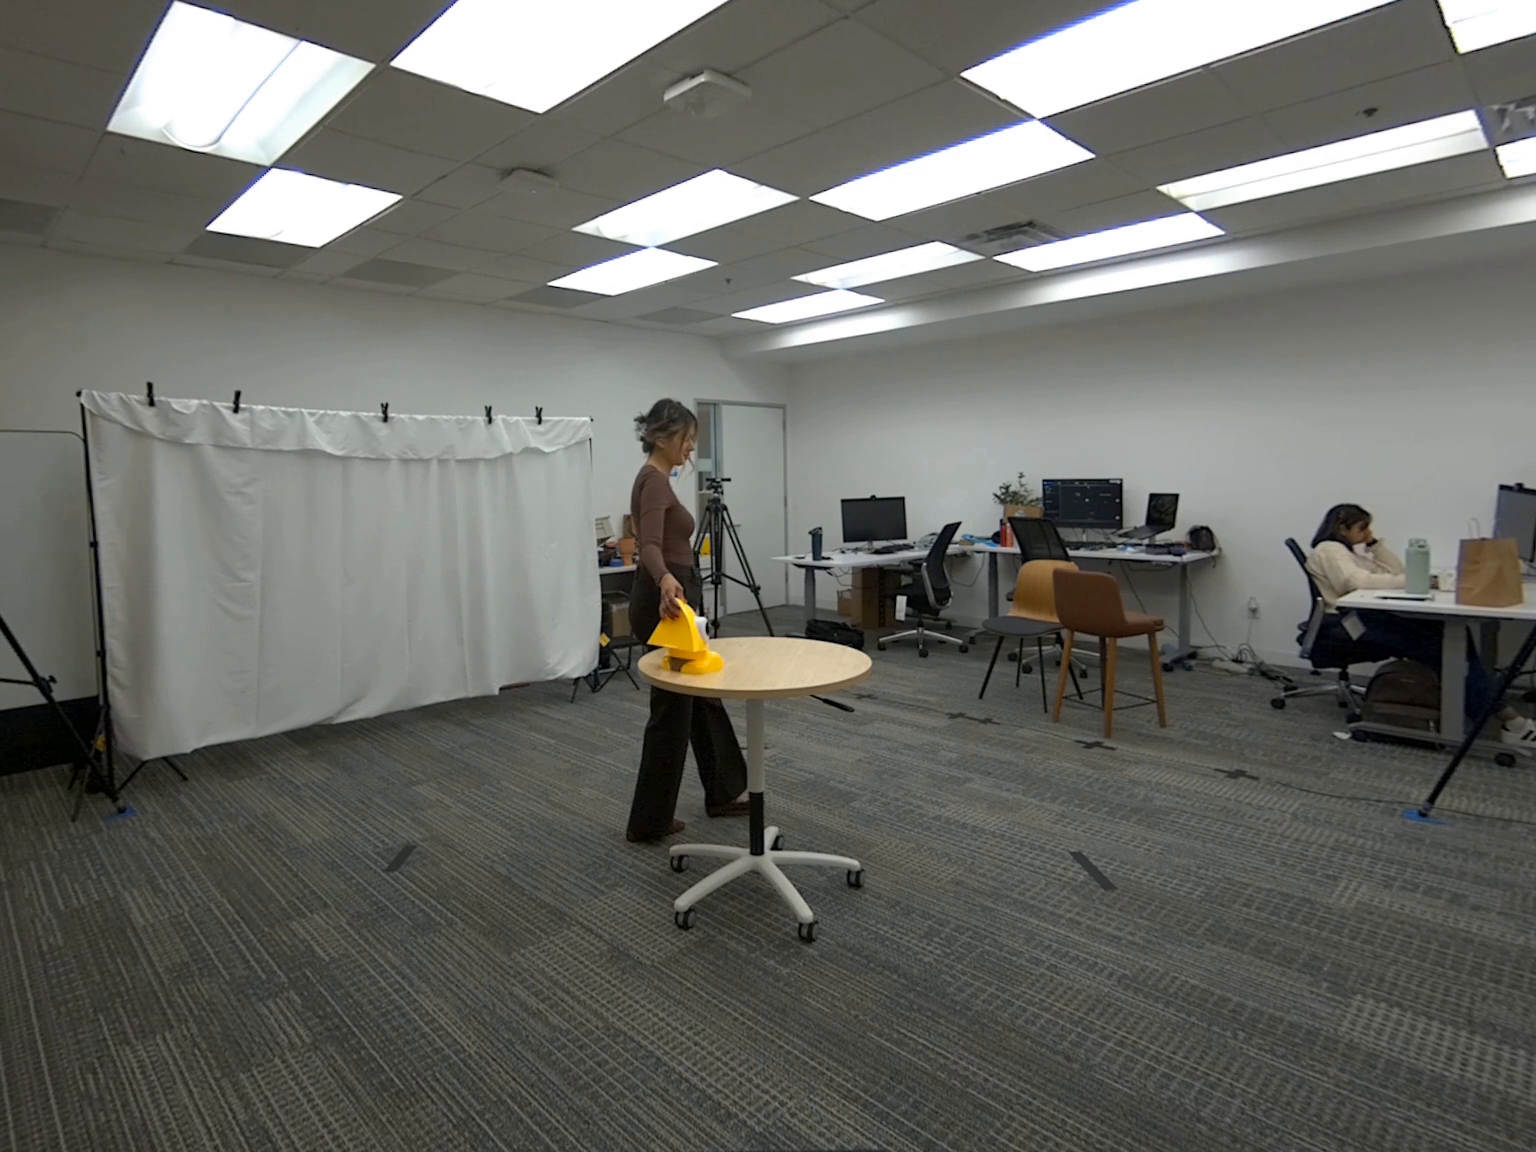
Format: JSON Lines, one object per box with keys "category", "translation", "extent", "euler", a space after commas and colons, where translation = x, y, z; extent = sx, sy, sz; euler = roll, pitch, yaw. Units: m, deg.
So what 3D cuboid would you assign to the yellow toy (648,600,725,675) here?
{"category": "yellow toy", "translation": [-0.247, 0.182, 2.719], "extent": [0.211, 0.230, 0.188], "euler": [3, 6, 38]}
